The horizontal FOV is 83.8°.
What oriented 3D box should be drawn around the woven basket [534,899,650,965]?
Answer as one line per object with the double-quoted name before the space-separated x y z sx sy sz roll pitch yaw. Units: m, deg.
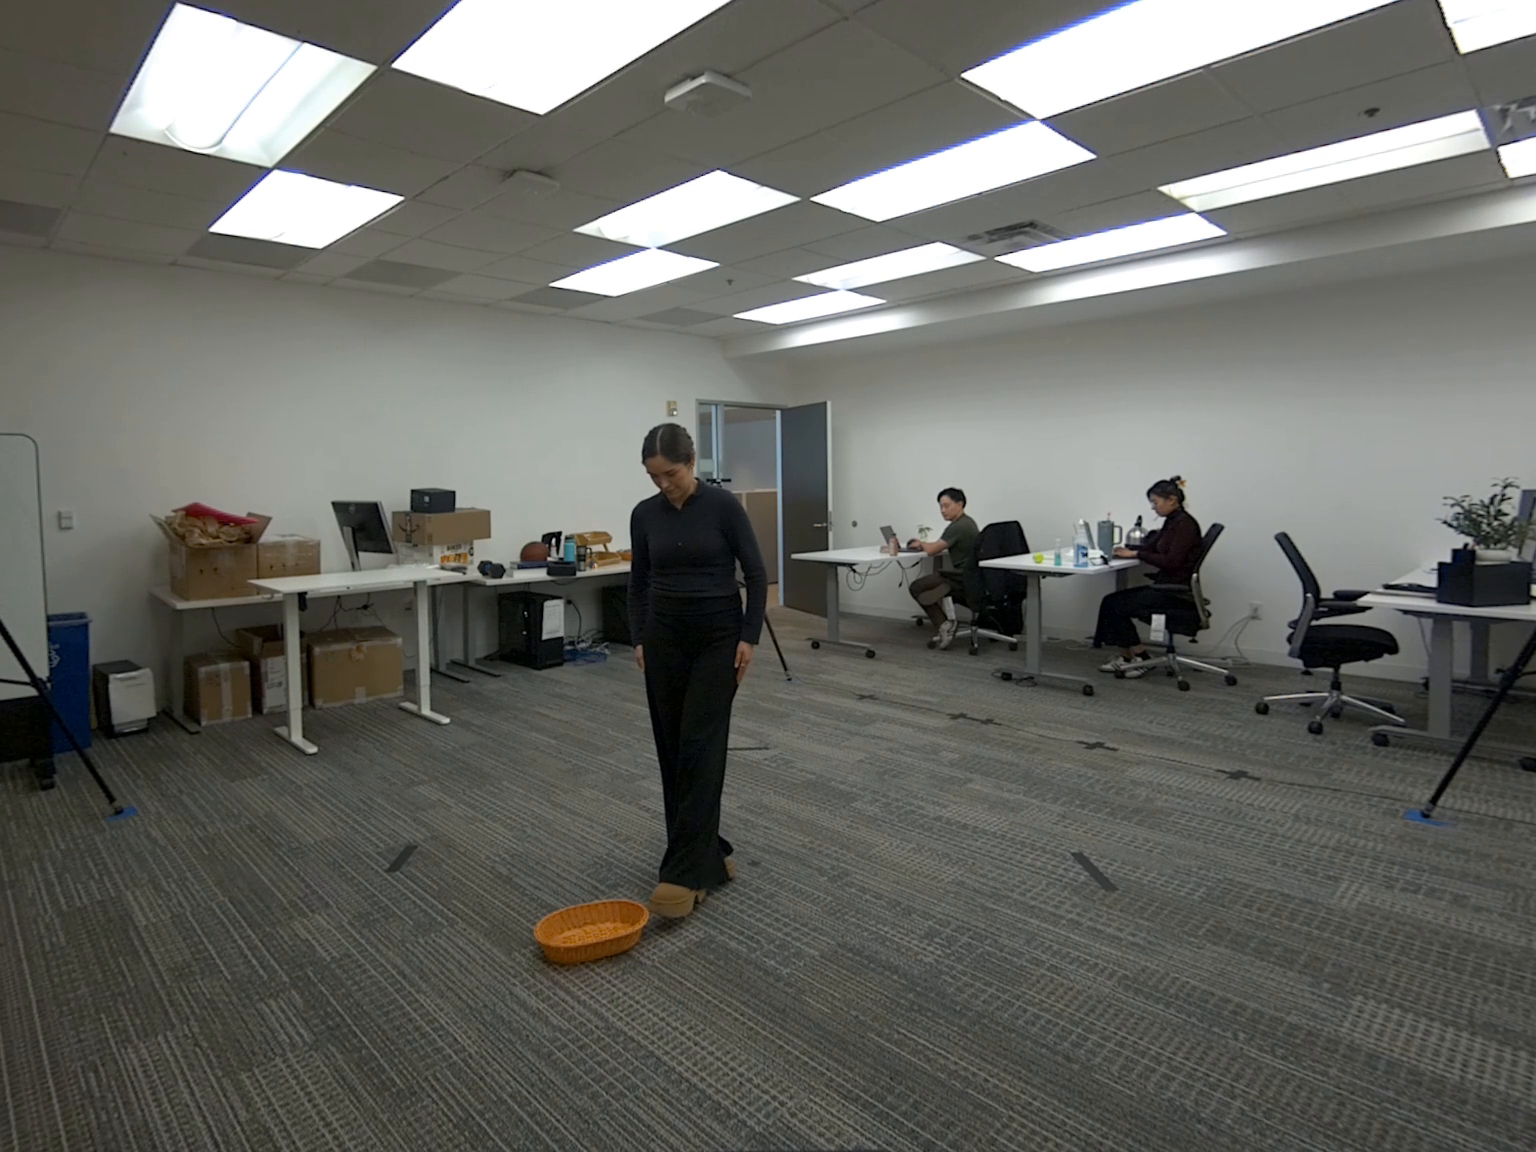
"woven basket" -0.523 1.075 2.576 0.345 0.073 0.257 -4 5 -17
